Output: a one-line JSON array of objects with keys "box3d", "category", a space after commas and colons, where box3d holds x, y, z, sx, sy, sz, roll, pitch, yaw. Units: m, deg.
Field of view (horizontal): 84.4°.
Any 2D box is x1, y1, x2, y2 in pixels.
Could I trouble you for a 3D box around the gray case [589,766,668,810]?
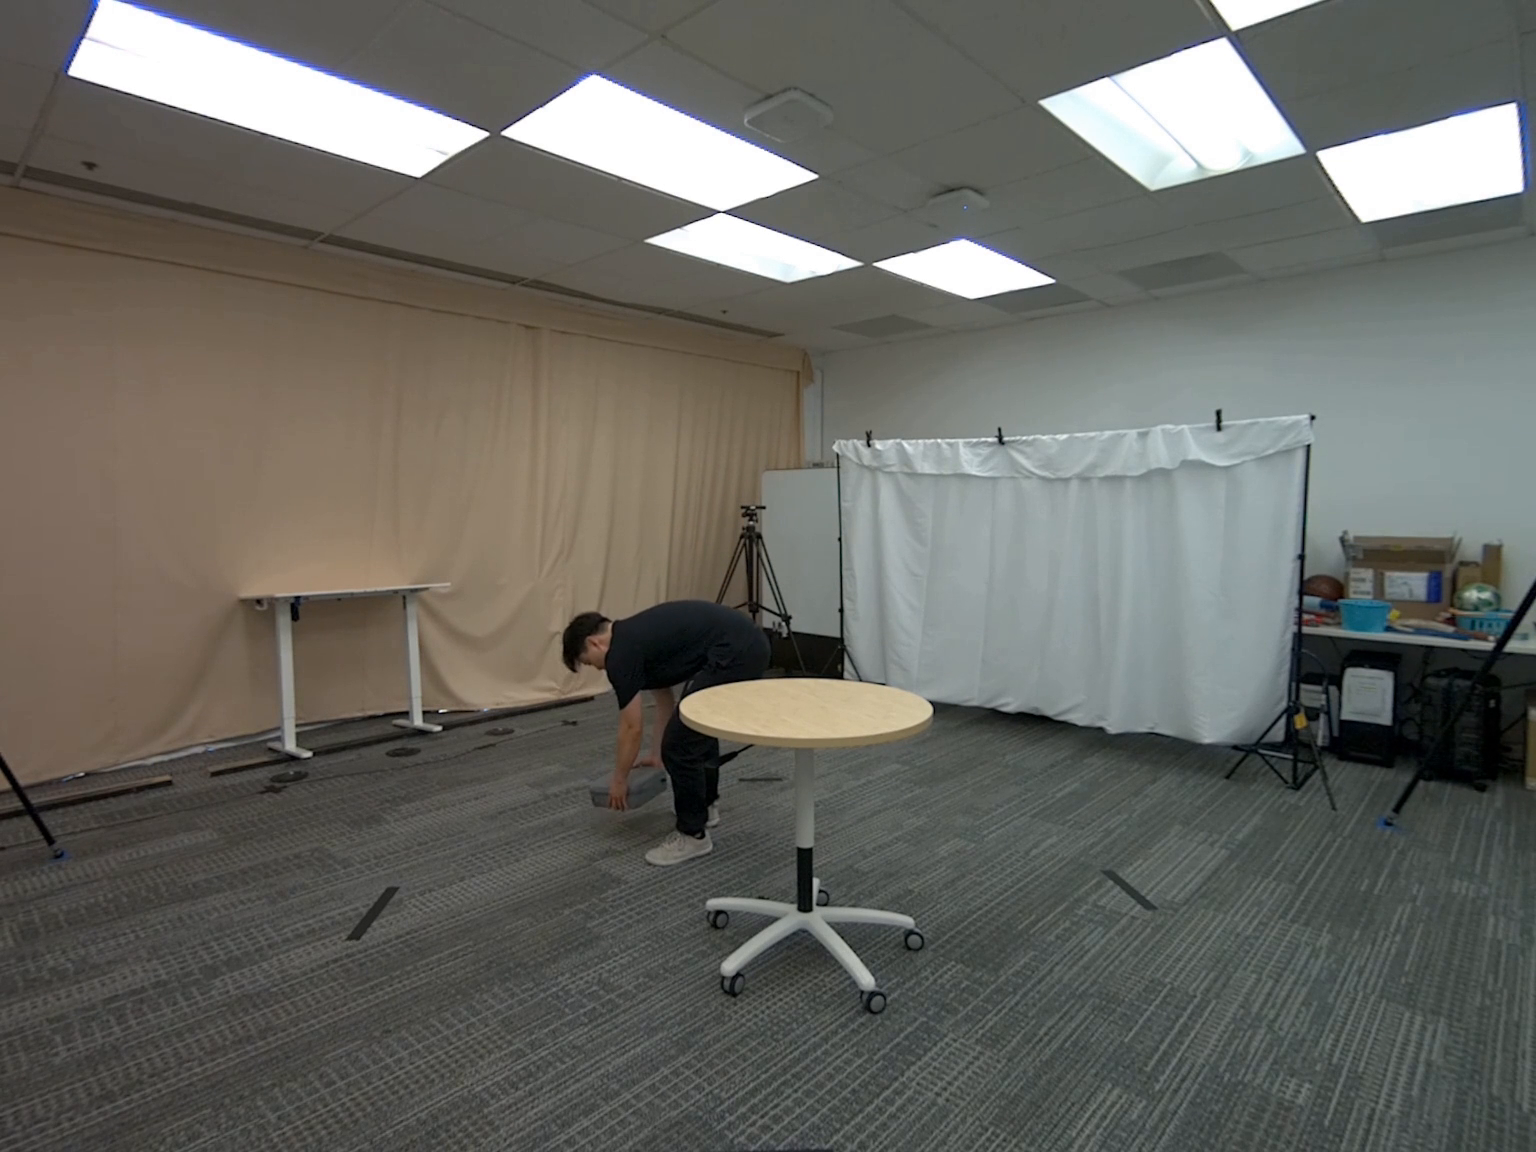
[{"box3d": [-0.600, 0.894, 3.578, 0.267, 0.104, 0.251, -7, 6, 27], "category": "gray case"}]
